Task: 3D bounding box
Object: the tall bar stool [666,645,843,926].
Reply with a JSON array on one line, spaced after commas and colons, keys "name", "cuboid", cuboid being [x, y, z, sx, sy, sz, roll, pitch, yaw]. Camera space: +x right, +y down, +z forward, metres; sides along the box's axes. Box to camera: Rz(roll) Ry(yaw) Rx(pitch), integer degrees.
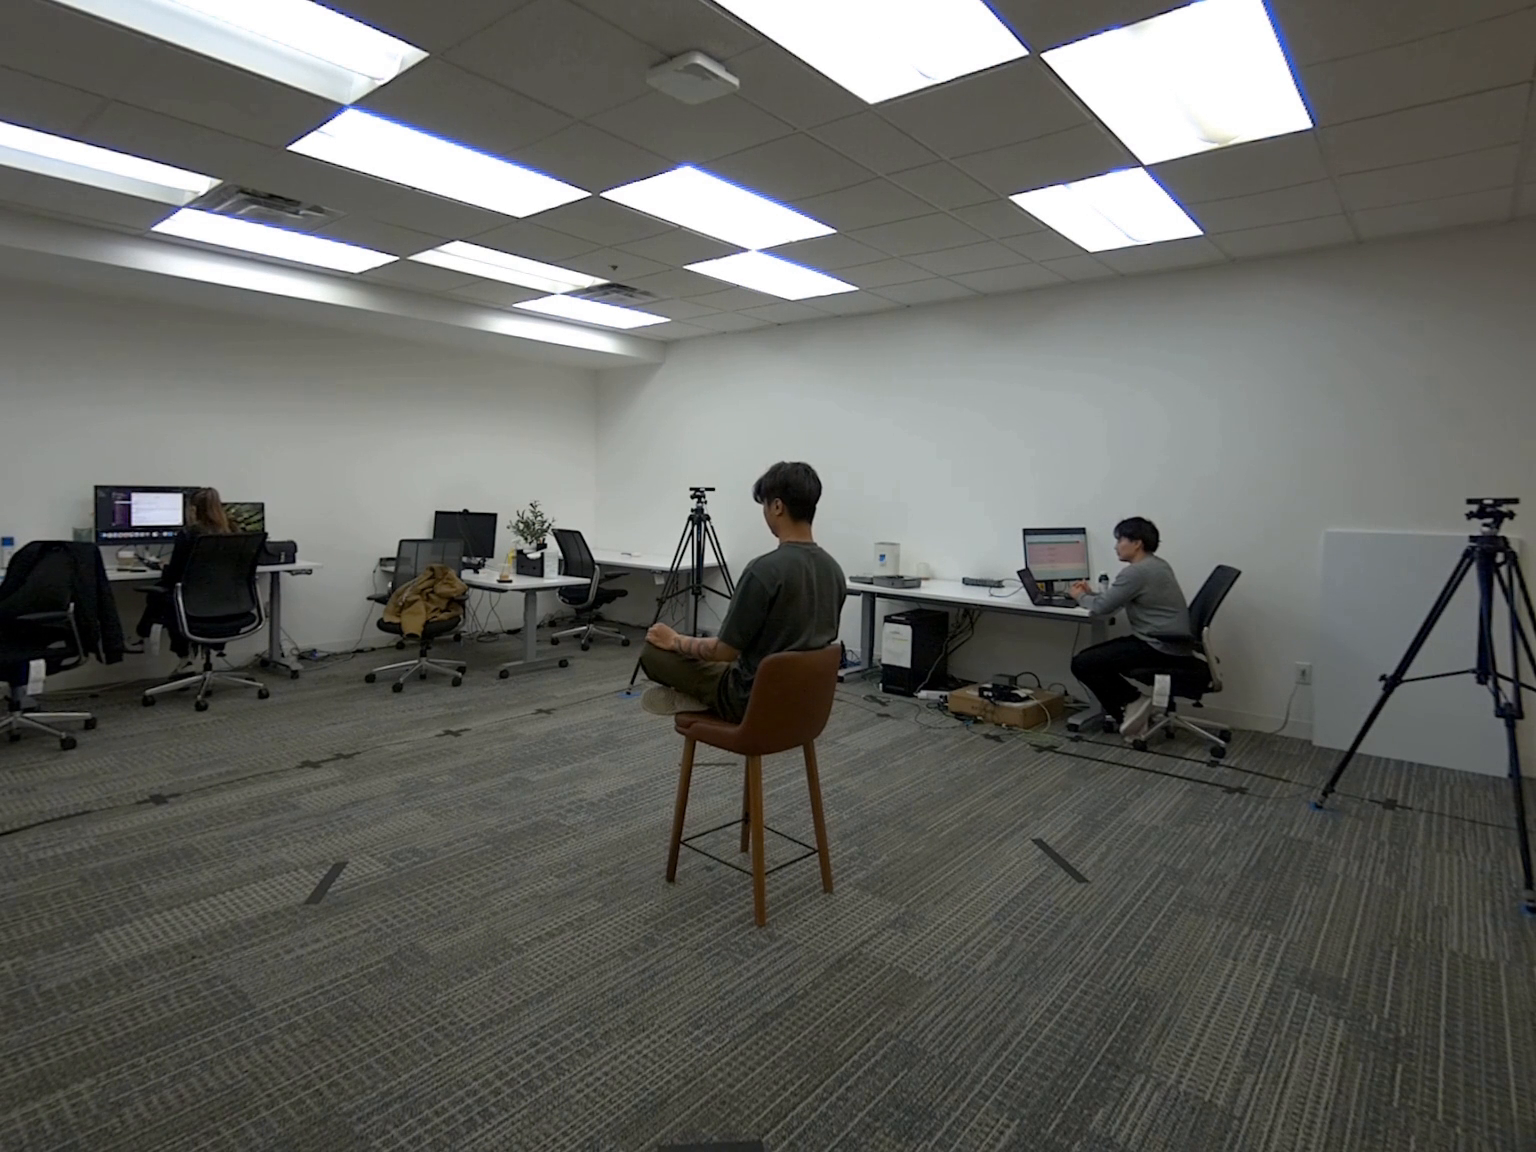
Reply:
[{"name": "tall bar stool", "cuboid": [-0.052, 0.650, 2.953, 0.484, 0.886, 0.442, 8, 6, 43]}]
